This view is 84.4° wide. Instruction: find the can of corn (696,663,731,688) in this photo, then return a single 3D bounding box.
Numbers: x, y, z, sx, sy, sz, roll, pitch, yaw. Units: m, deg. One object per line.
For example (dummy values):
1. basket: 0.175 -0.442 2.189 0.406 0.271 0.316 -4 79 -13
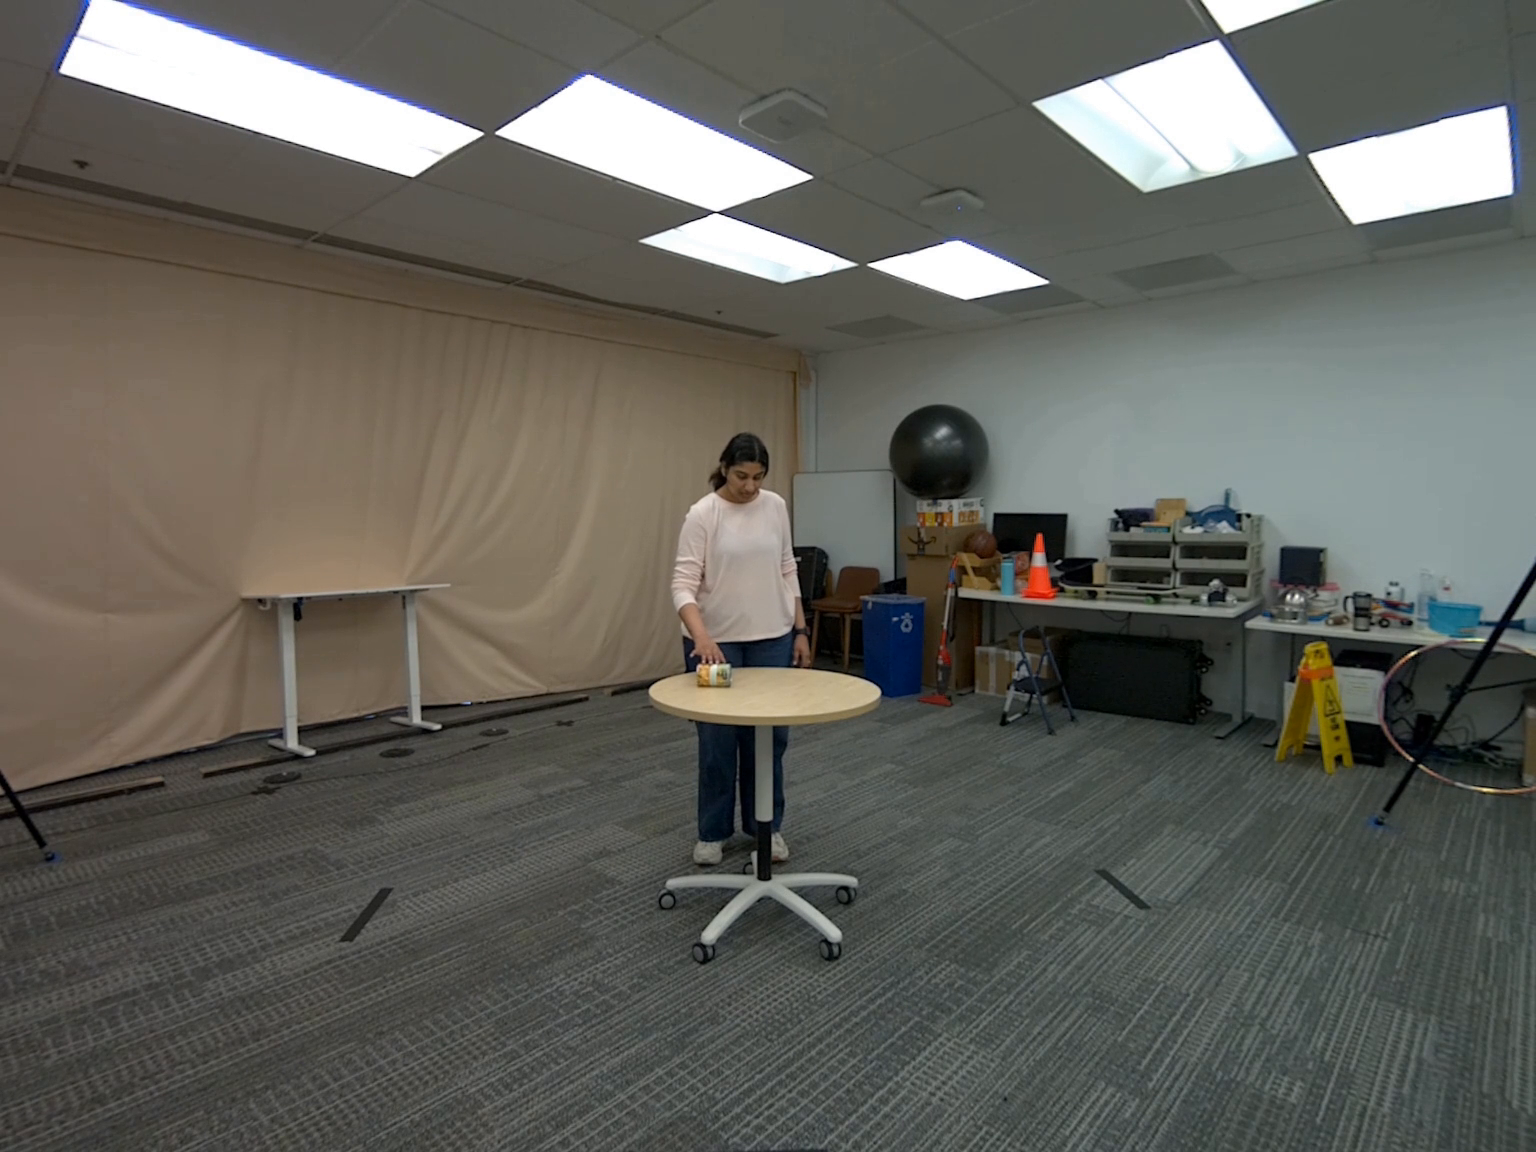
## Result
1. can of corn: -0.179 0.333 2.848 0.111 0.074 0.074 0 4 -3
